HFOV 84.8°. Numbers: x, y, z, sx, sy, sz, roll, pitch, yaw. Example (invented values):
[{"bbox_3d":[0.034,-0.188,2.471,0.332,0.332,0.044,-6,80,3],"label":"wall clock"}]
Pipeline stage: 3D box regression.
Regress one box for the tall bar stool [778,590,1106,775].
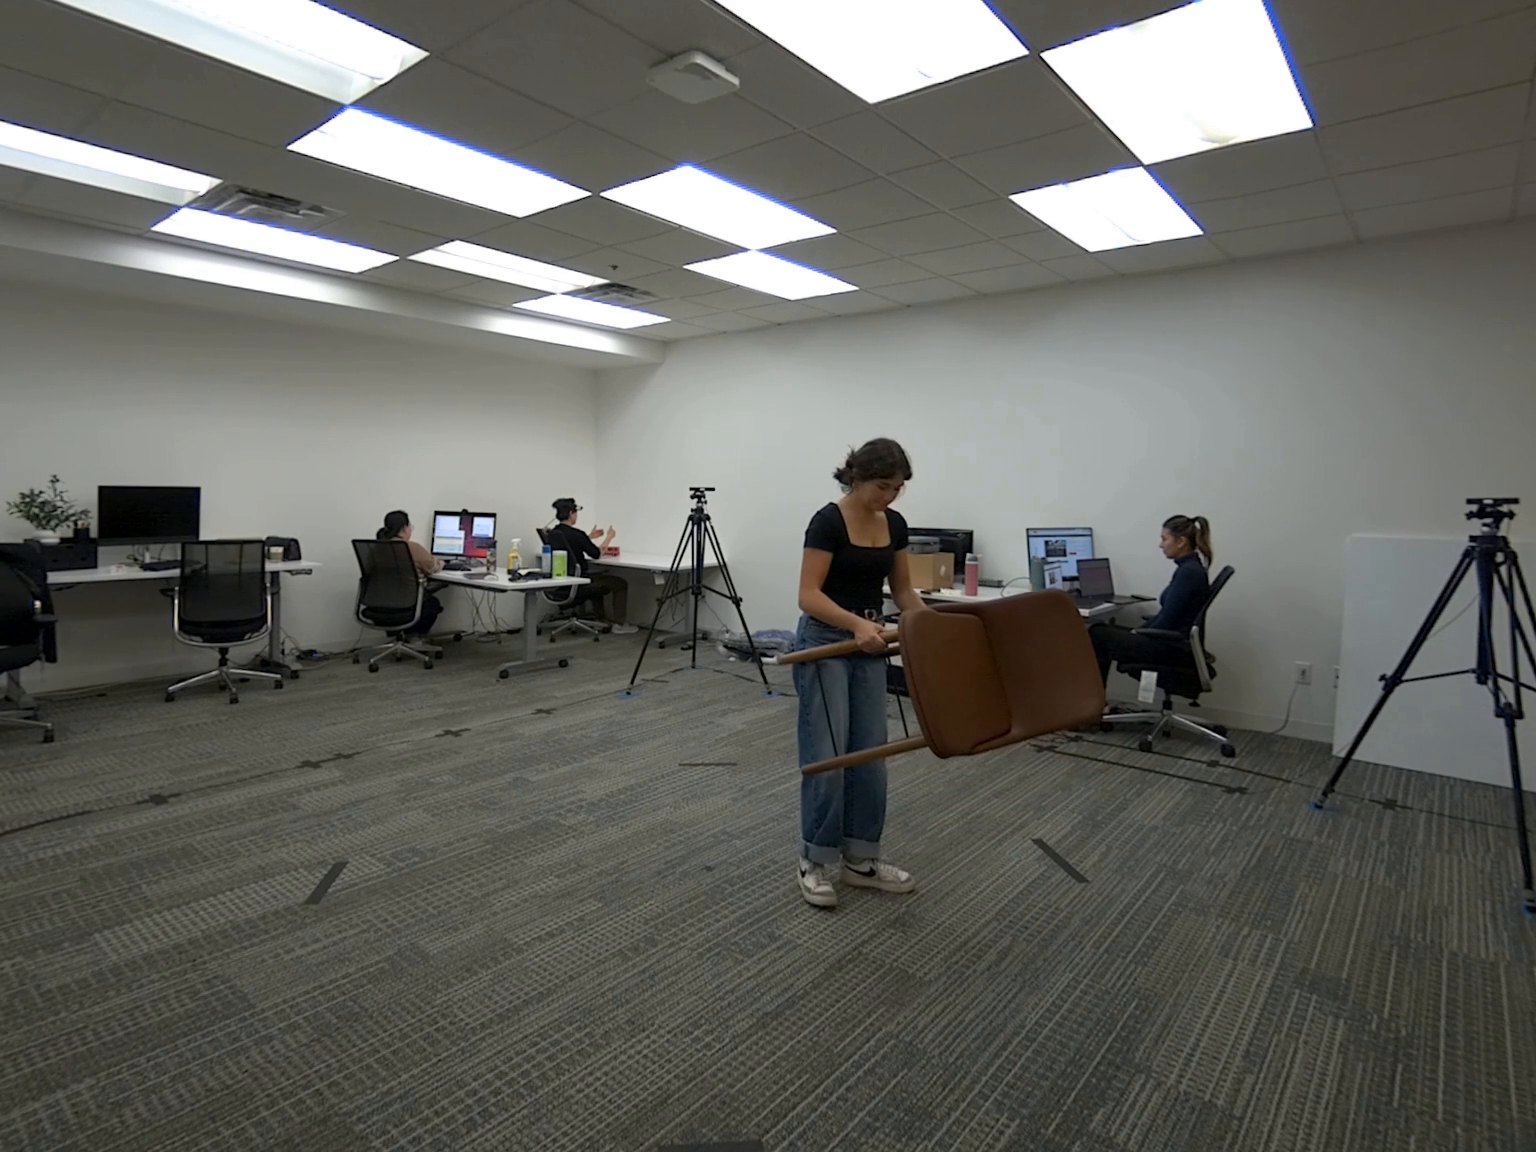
[{"bbox_3d":[0.512,0.355,2.724,0.453,0.464,0.903,1,-18,-41],"label":"tall bar stool"}]
